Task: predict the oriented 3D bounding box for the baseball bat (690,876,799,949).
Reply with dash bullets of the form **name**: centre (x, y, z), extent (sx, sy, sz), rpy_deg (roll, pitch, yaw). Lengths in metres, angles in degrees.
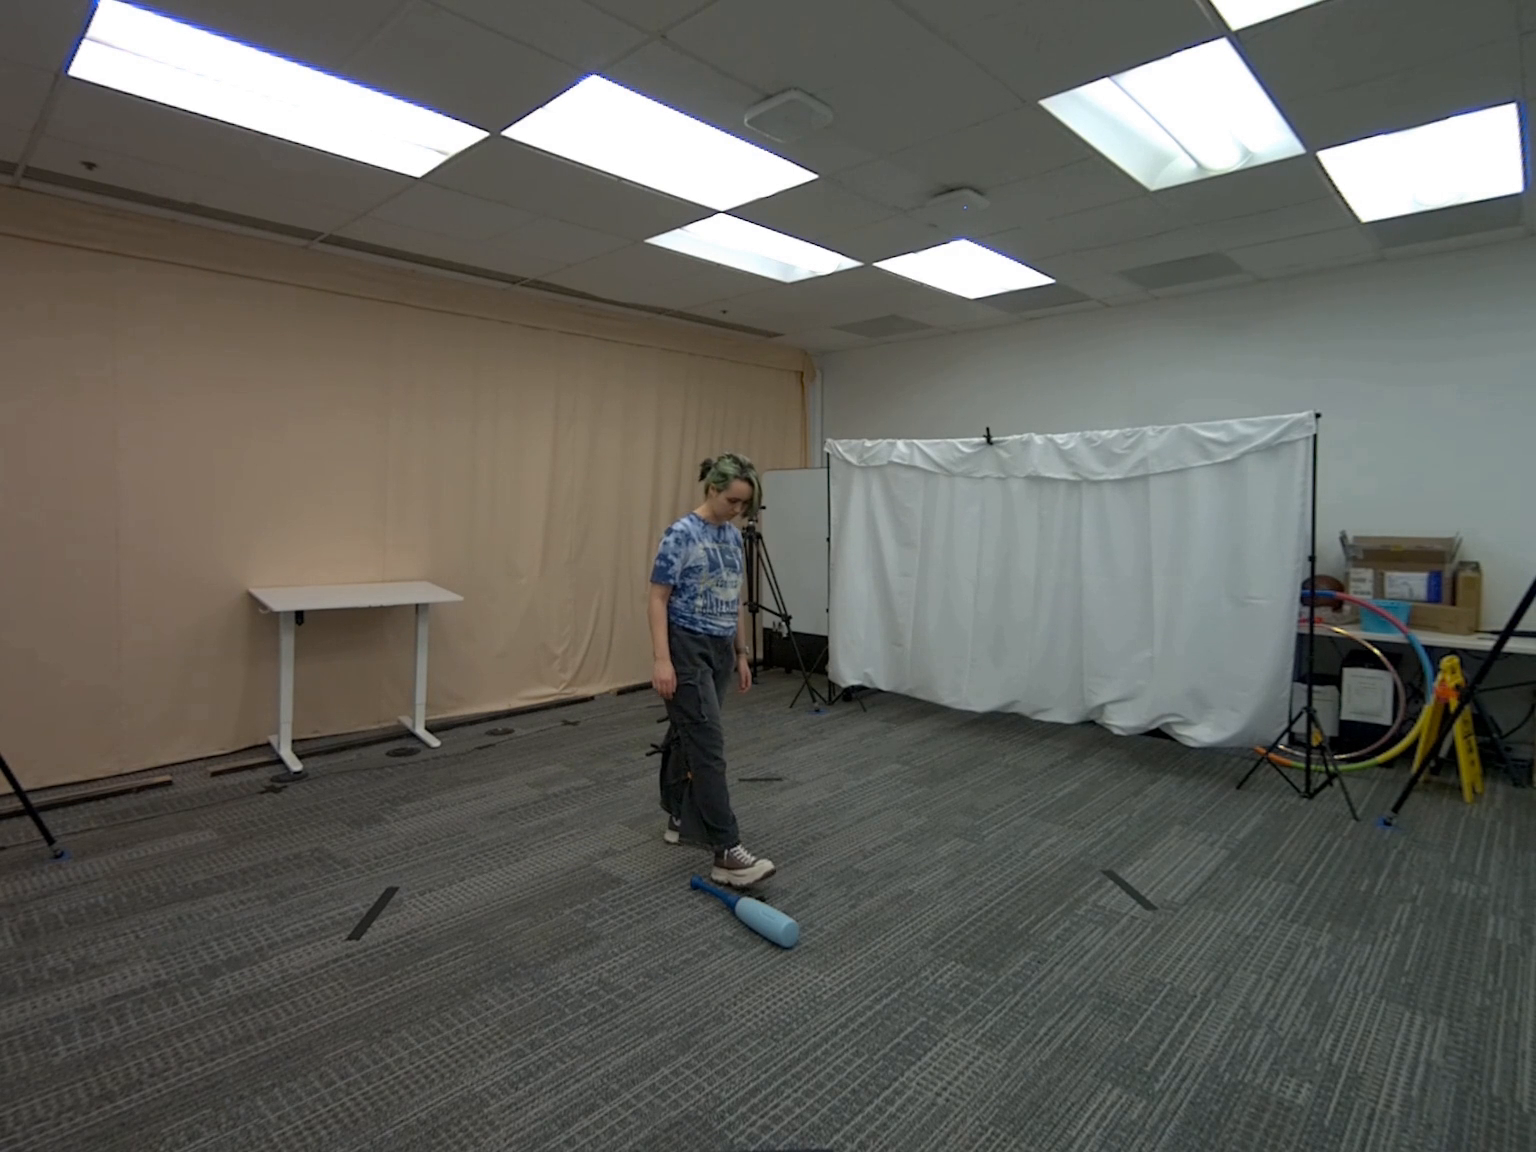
- **baseball bat**: centre (-0.099, 1.123, 2.849), extent (0.086, 0.089, 0.560), rpy_deg (-3, 2, -38)
